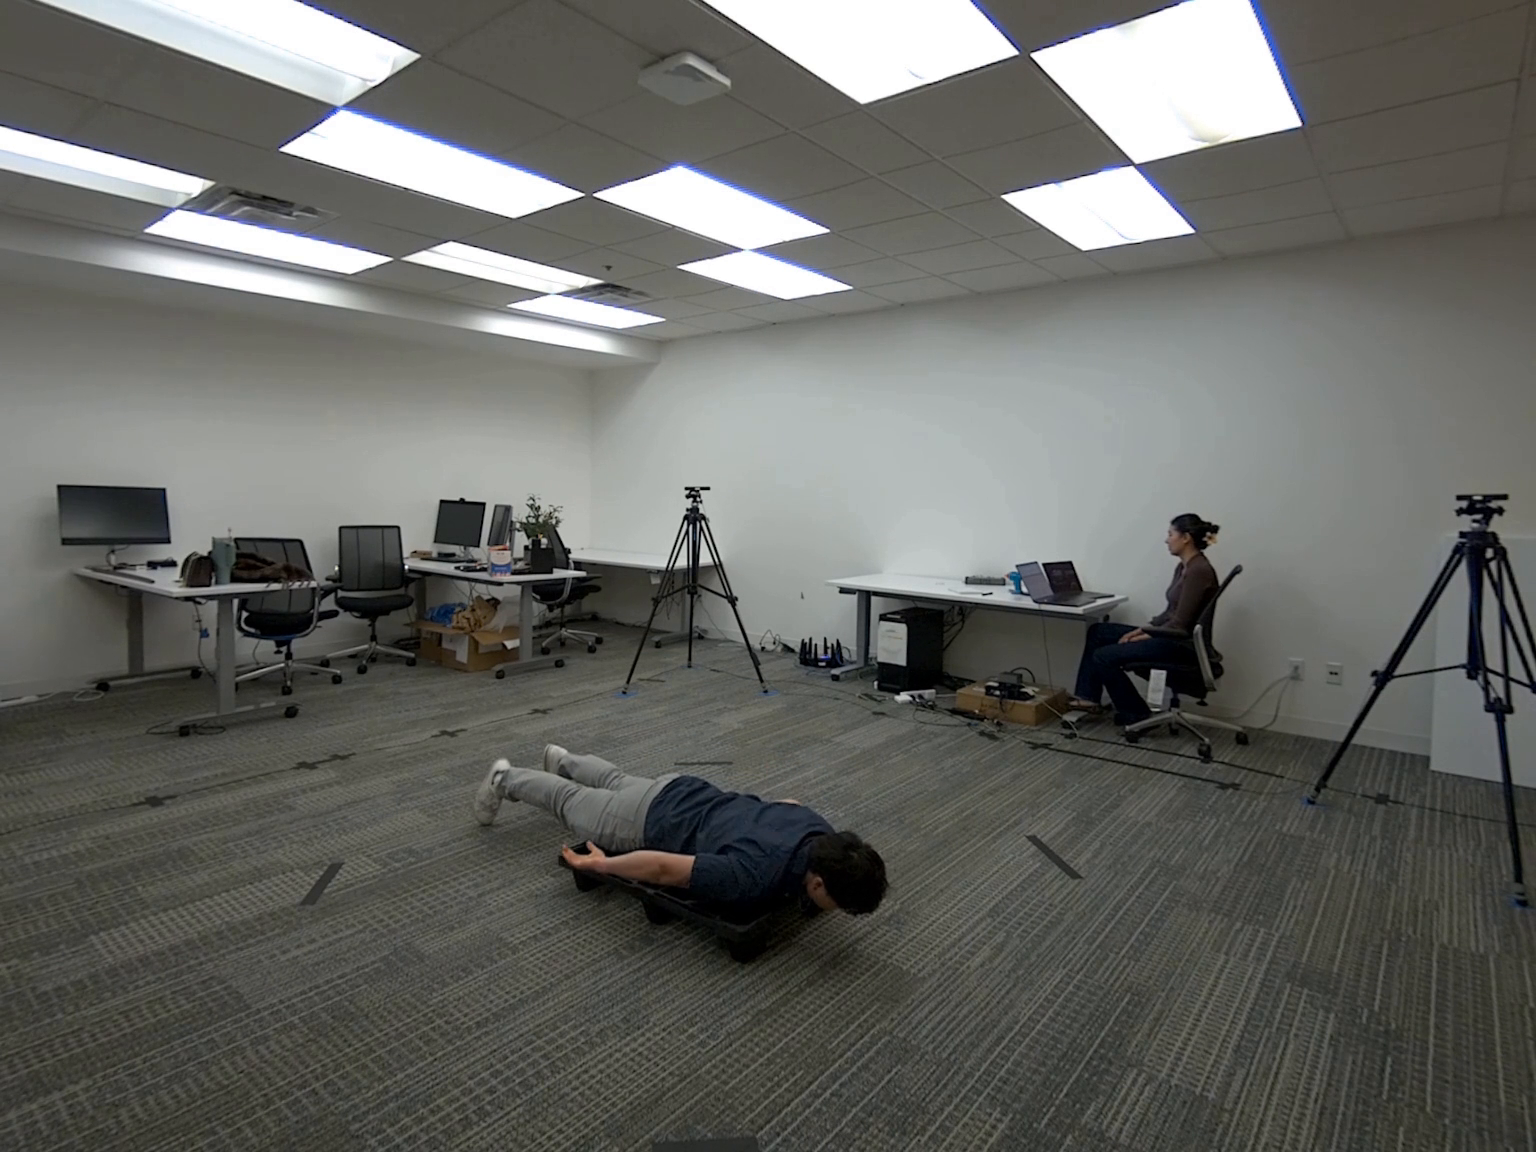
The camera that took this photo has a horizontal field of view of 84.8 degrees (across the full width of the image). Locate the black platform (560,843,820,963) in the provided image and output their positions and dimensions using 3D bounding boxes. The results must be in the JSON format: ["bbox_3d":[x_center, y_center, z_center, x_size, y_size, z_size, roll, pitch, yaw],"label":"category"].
[{"bbox_3d":[-0.243,1.029,2.877,0.832,0.143,0.587,6,5,36],"label":"black platform"}]
